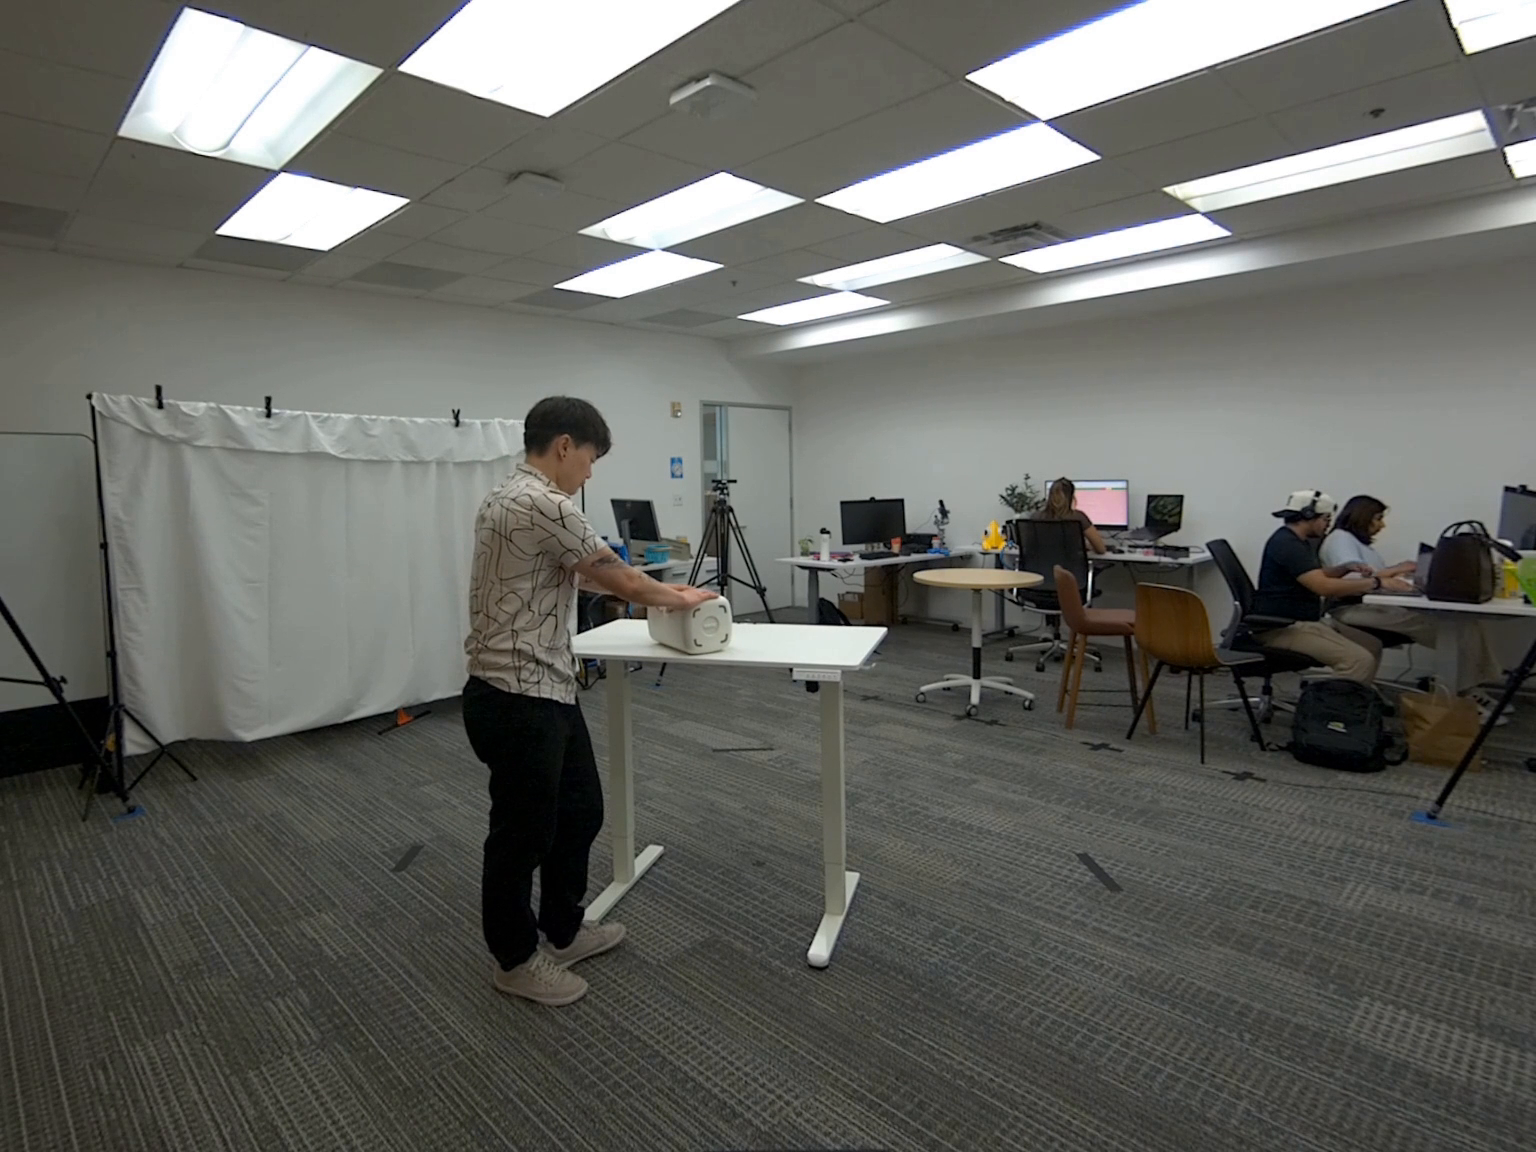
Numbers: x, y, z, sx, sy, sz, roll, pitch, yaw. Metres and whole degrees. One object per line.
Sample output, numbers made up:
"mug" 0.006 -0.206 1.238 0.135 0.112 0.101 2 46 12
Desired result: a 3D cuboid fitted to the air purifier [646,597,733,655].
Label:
"air purifier" -0.235 0.136 2.645 0.168 0.170 0.273 -7 8 -31
